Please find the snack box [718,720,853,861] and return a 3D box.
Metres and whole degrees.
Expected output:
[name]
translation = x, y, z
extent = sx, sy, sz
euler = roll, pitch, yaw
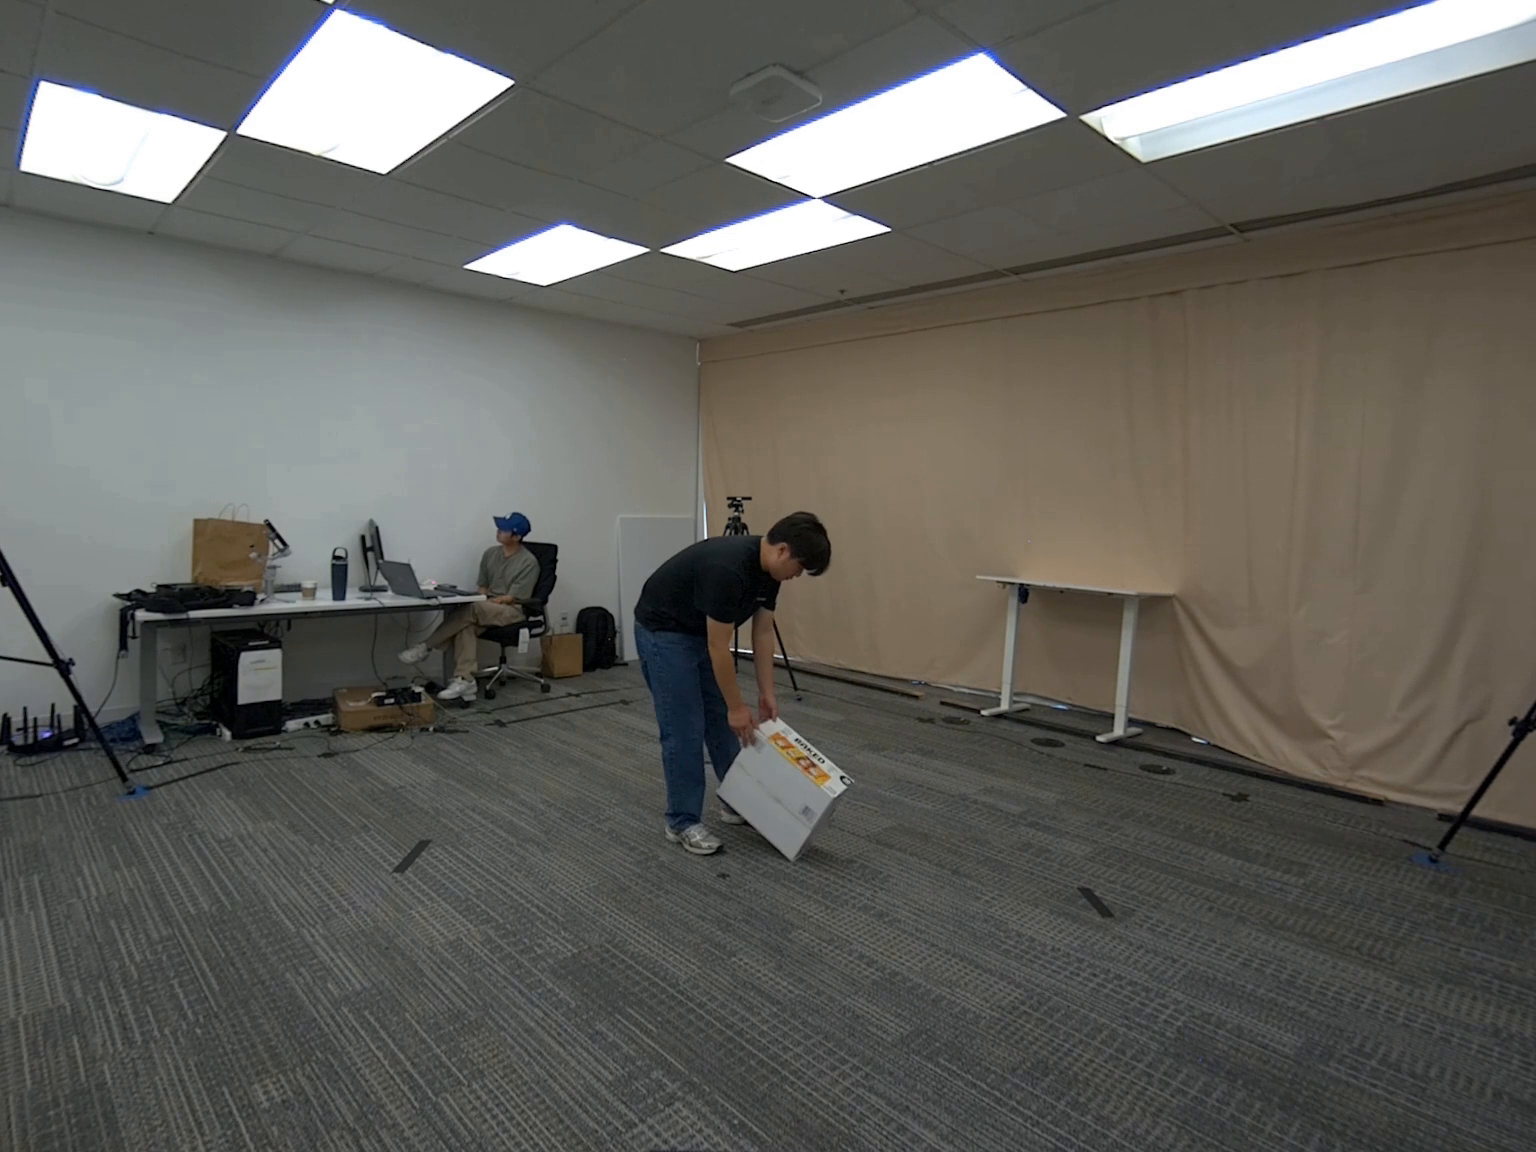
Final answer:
[snack box]
translation = 0.059, 0.842, 3.344
extent = 0.414, 0.338, 0.202
euler = 37, 20, 22
